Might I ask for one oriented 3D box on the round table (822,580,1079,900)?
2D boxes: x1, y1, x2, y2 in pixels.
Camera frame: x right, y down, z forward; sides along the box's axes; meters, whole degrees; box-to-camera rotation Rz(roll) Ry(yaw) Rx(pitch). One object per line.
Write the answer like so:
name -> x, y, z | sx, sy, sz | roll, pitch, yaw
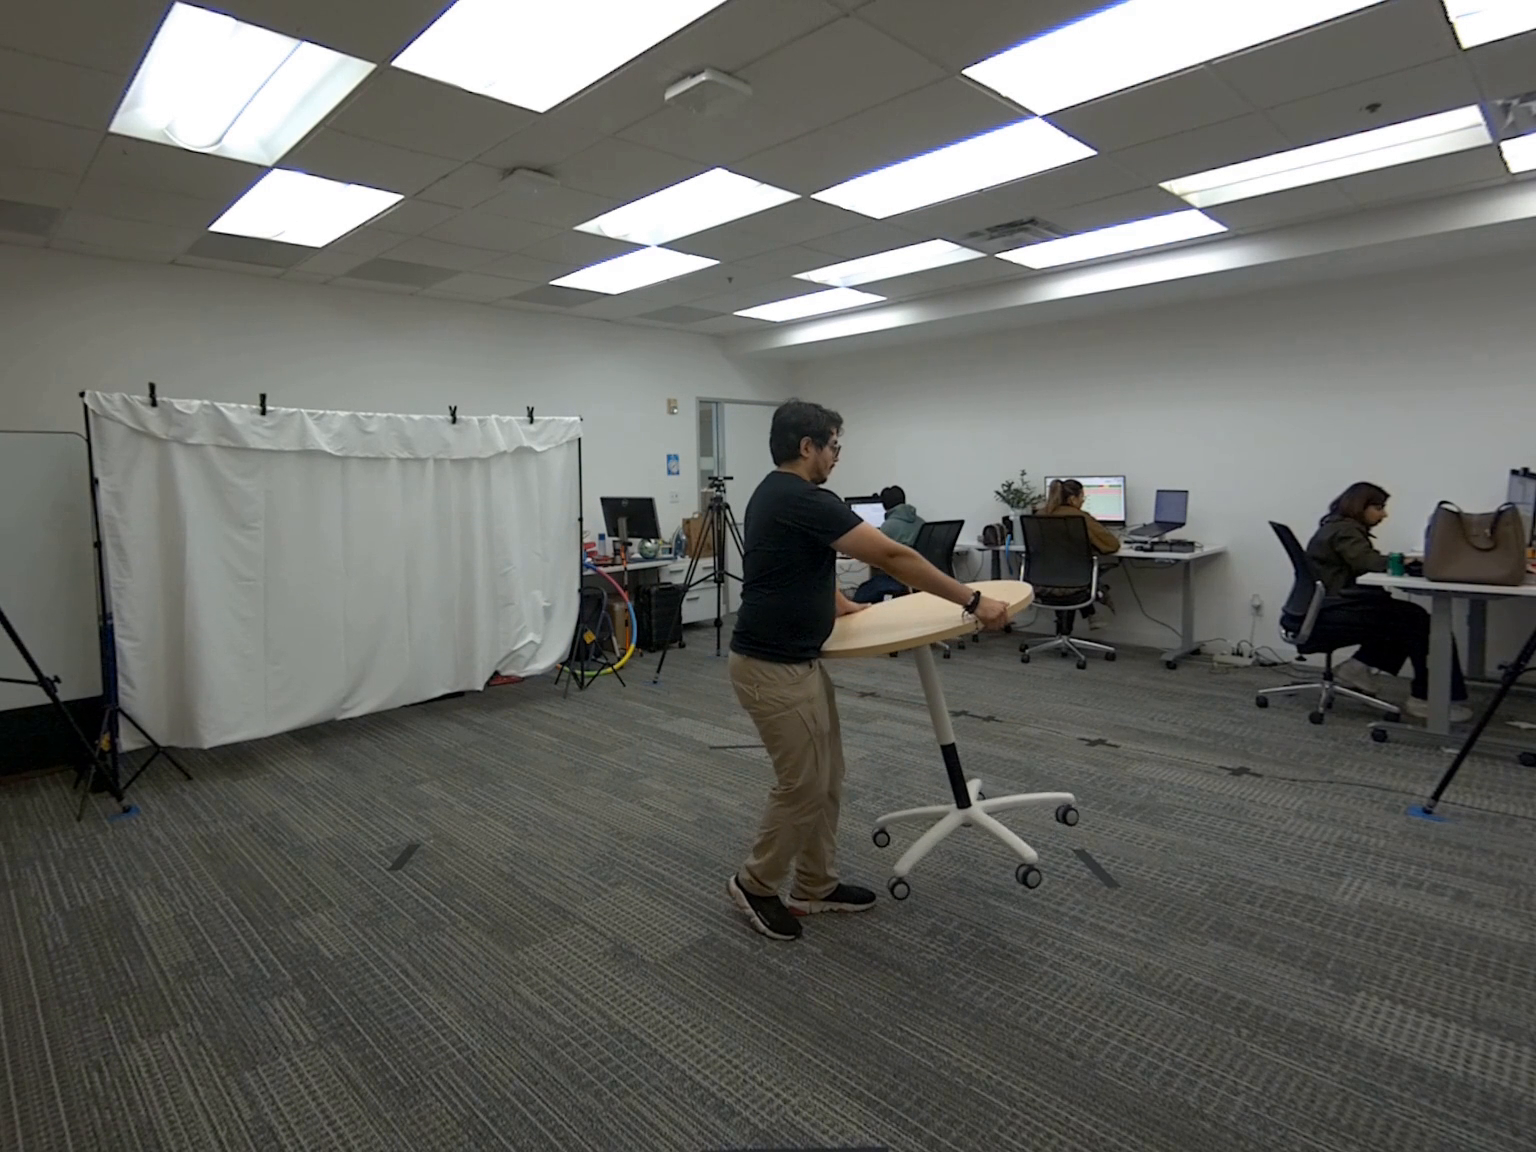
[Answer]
round table -> 0.569, 0.509, 2.821 | 0.785, 0.785, 0.787 | -15, 3, -1
